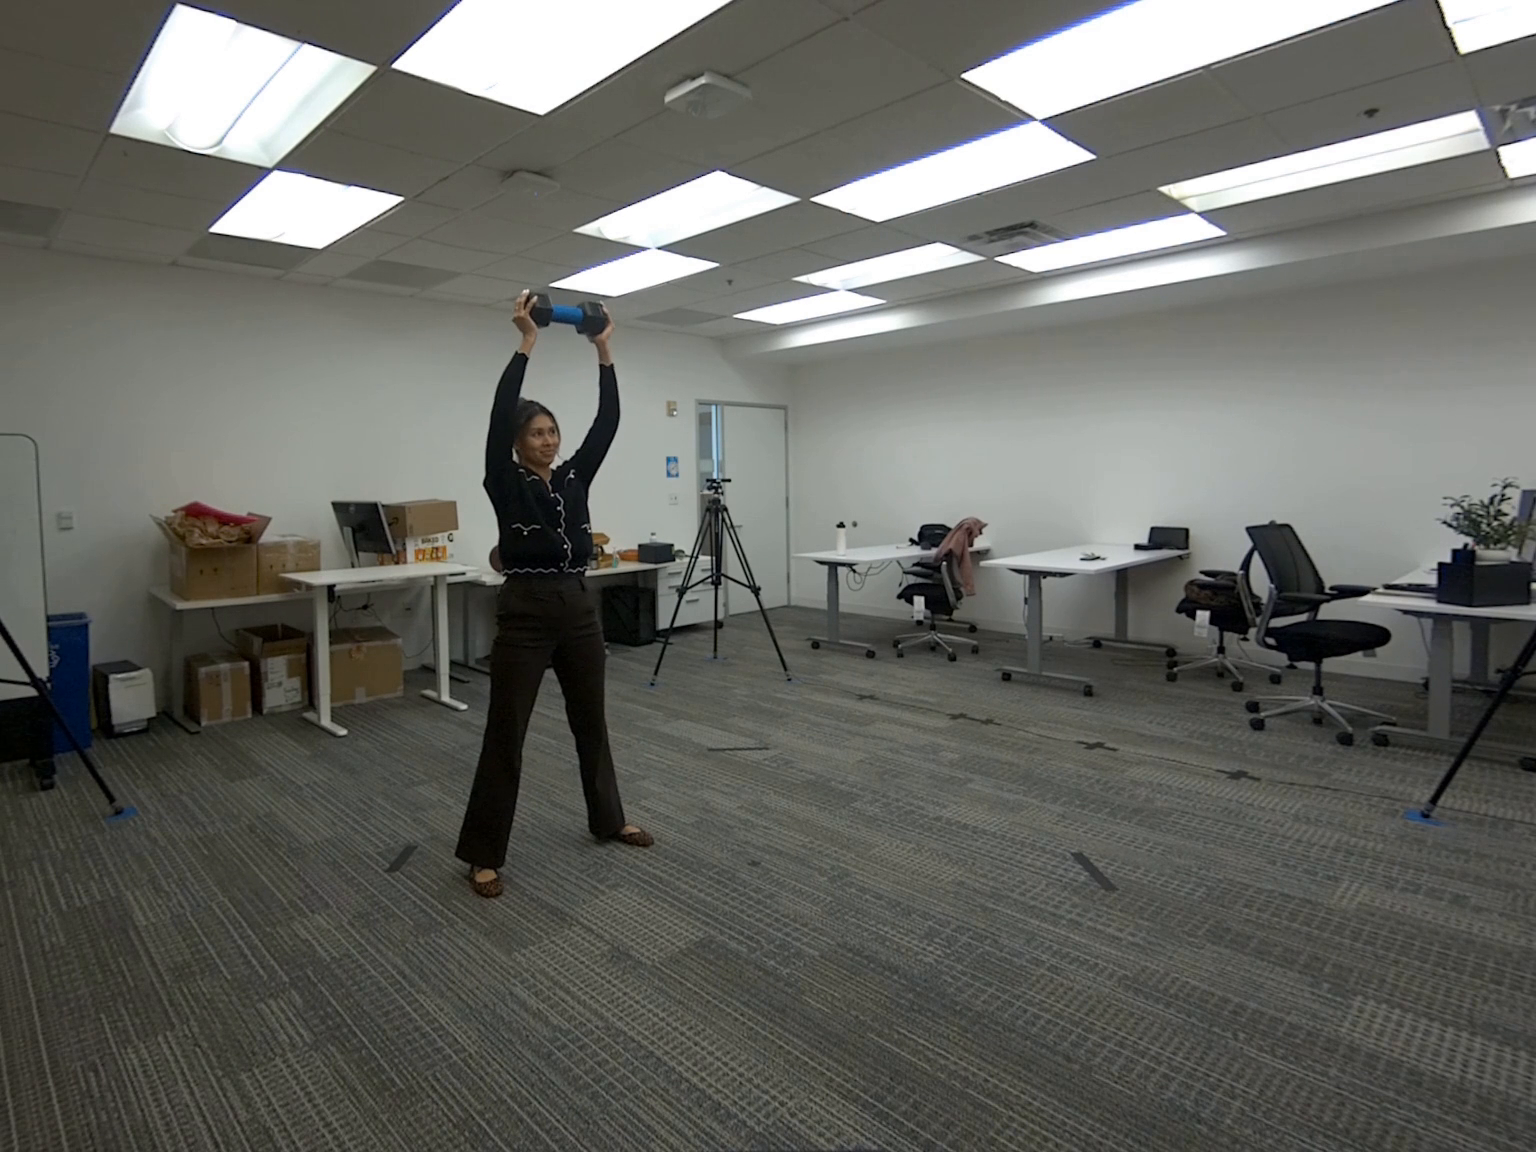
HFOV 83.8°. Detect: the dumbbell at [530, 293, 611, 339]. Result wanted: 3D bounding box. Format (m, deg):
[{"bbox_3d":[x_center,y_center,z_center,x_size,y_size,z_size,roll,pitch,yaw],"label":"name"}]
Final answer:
[{"bbox_3d":[-0.704,-0.887,2.933,0.286,0.126,0.109,-5,-27,-42],"label":"dumbbell"}]
